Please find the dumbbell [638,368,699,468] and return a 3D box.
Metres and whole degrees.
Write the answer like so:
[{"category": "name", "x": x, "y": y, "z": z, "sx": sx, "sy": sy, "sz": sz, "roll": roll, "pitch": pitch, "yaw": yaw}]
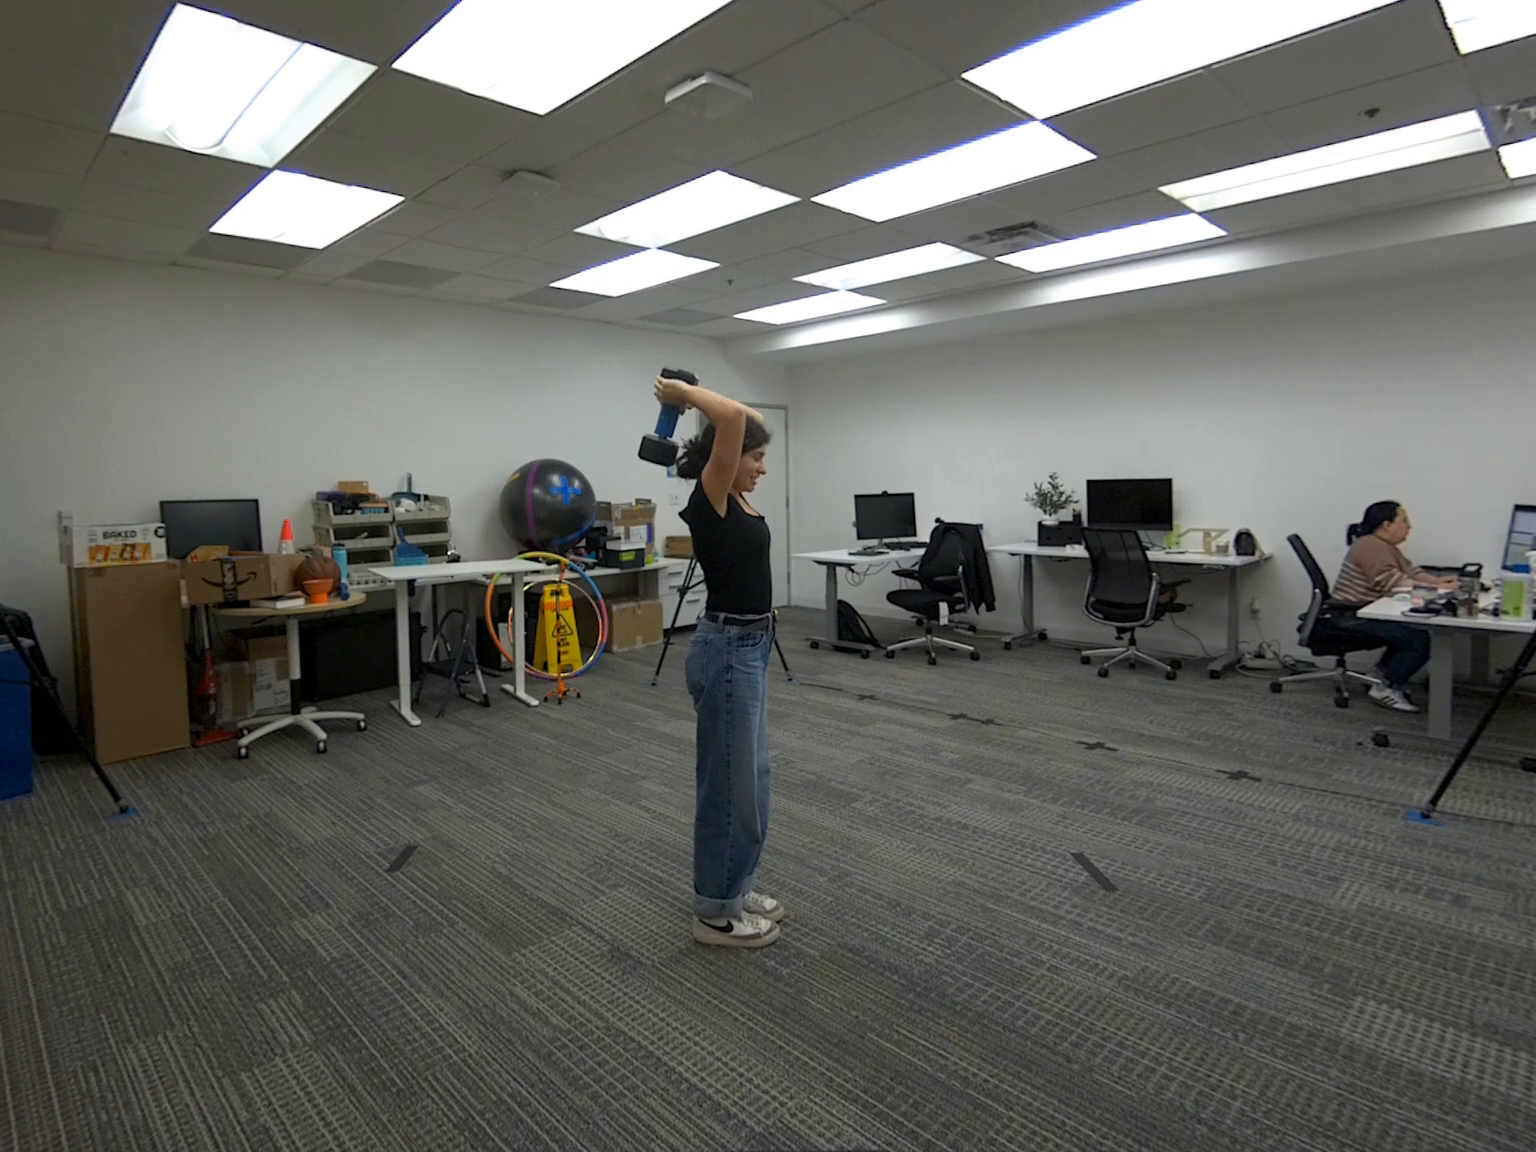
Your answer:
[{"category": "dumbbell", "x": -0.295, "y": -0.483, "z": 2.588, "sx": 0.127, "sy": 0.292, "sz": 0.105, "roll": 24, "pitch": 10, "yaw": 35}]
